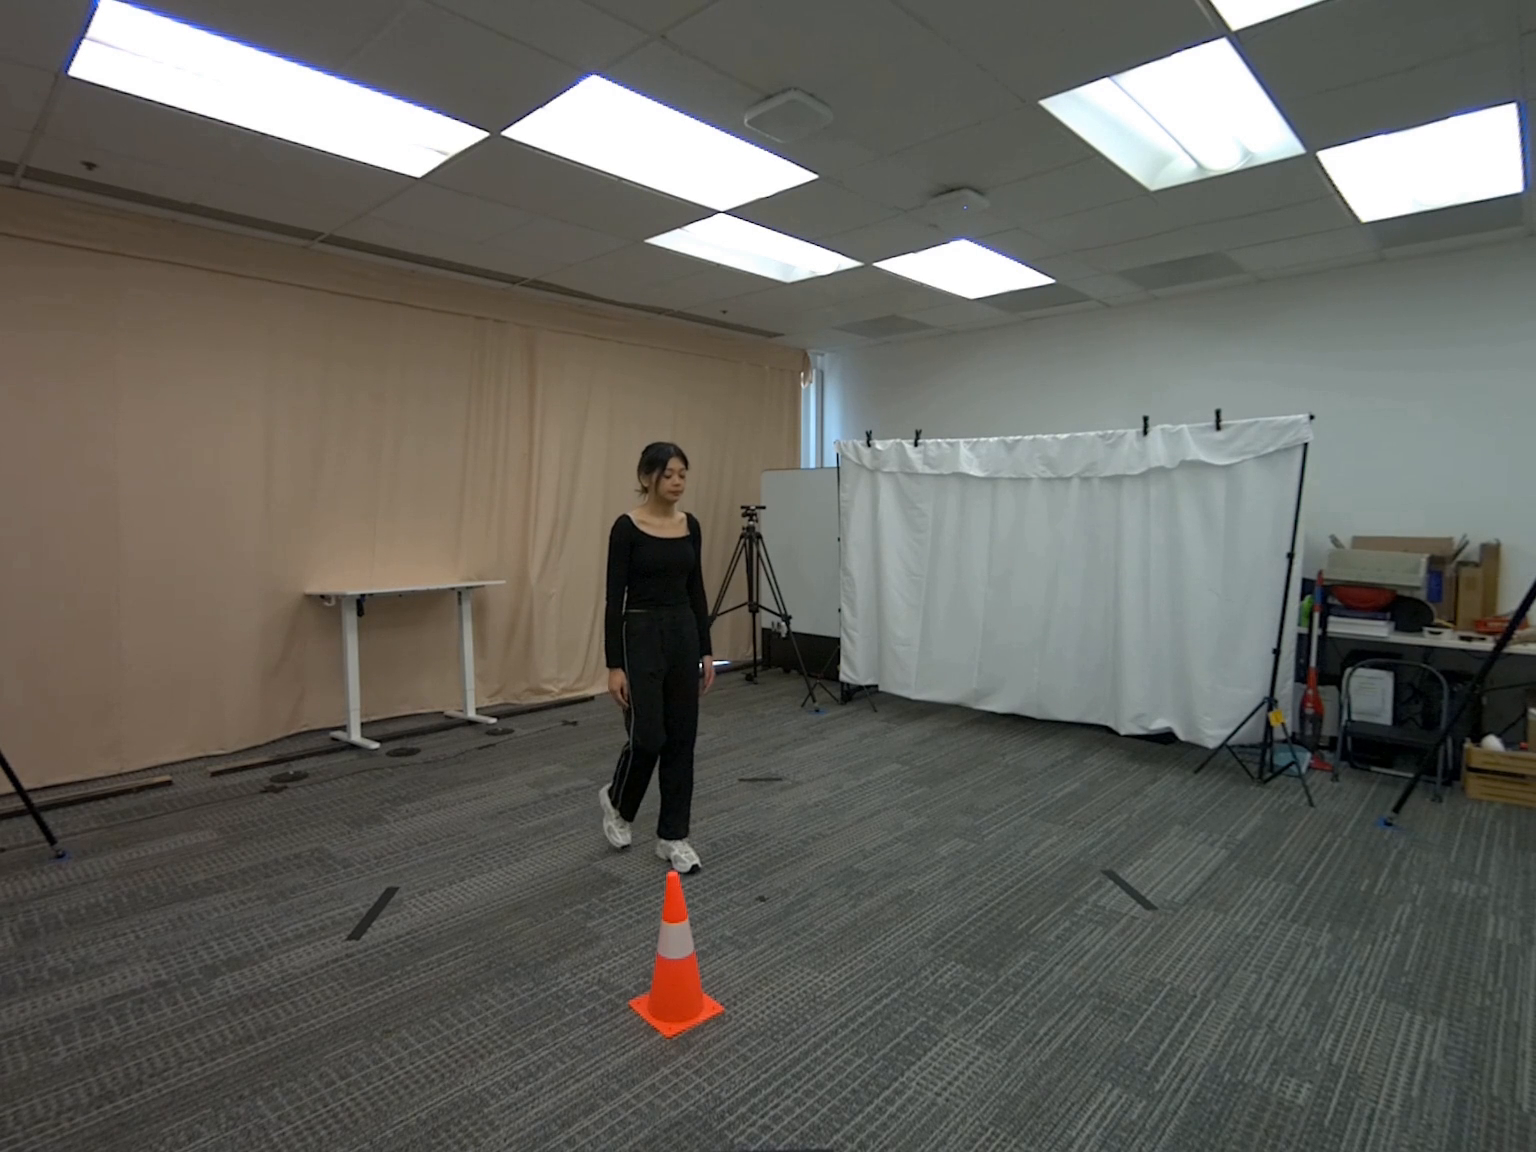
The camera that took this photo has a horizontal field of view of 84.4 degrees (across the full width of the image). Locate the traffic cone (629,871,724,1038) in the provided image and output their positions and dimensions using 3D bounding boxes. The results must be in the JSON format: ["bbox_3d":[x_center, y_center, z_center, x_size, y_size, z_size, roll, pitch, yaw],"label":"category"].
[{"bbox_3d":[-0.258,1.016,2.329,0.197,0.383,0.212,-3,3,-43],"label":"traffic cone"}]
